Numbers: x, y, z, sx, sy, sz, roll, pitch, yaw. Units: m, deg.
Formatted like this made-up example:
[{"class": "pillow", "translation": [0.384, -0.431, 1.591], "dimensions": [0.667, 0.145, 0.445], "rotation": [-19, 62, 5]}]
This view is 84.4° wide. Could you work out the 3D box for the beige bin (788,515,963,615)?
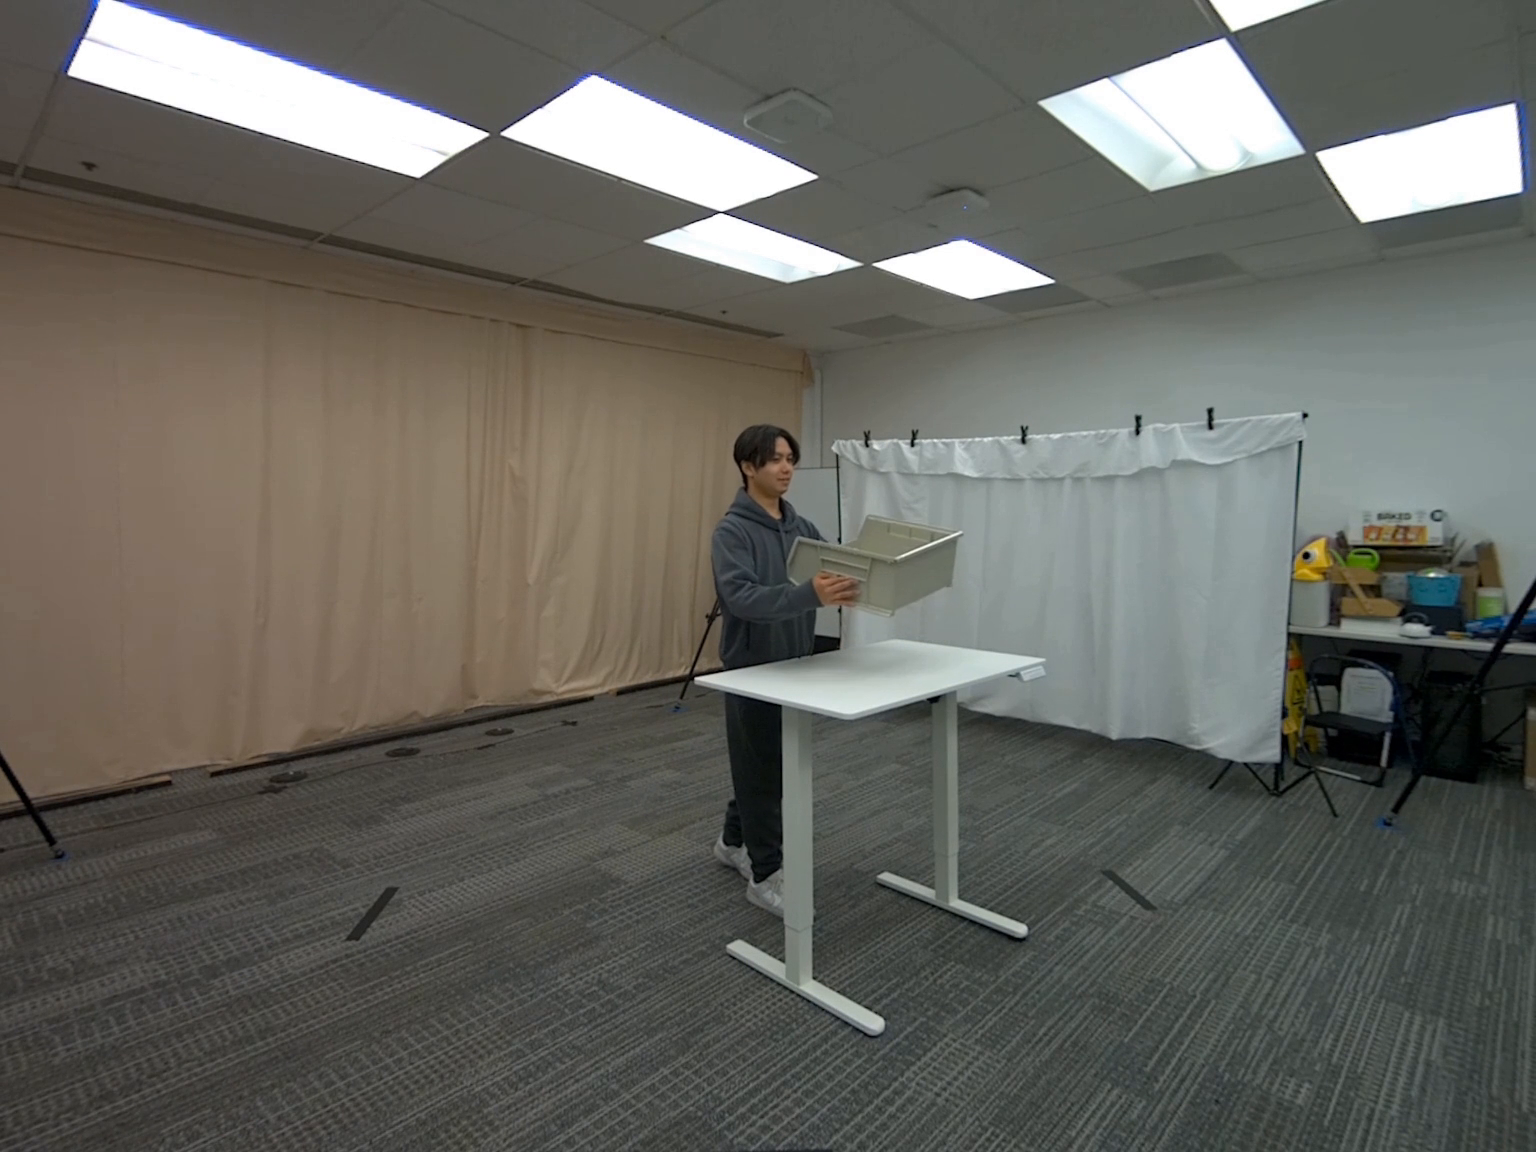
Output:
[{"class": "beige bin", "translation": [0.338, -0.043, 2.619], "dimensions": [0.390, 0.187, 0.412], "rotation": [14, 20, 35]}]
